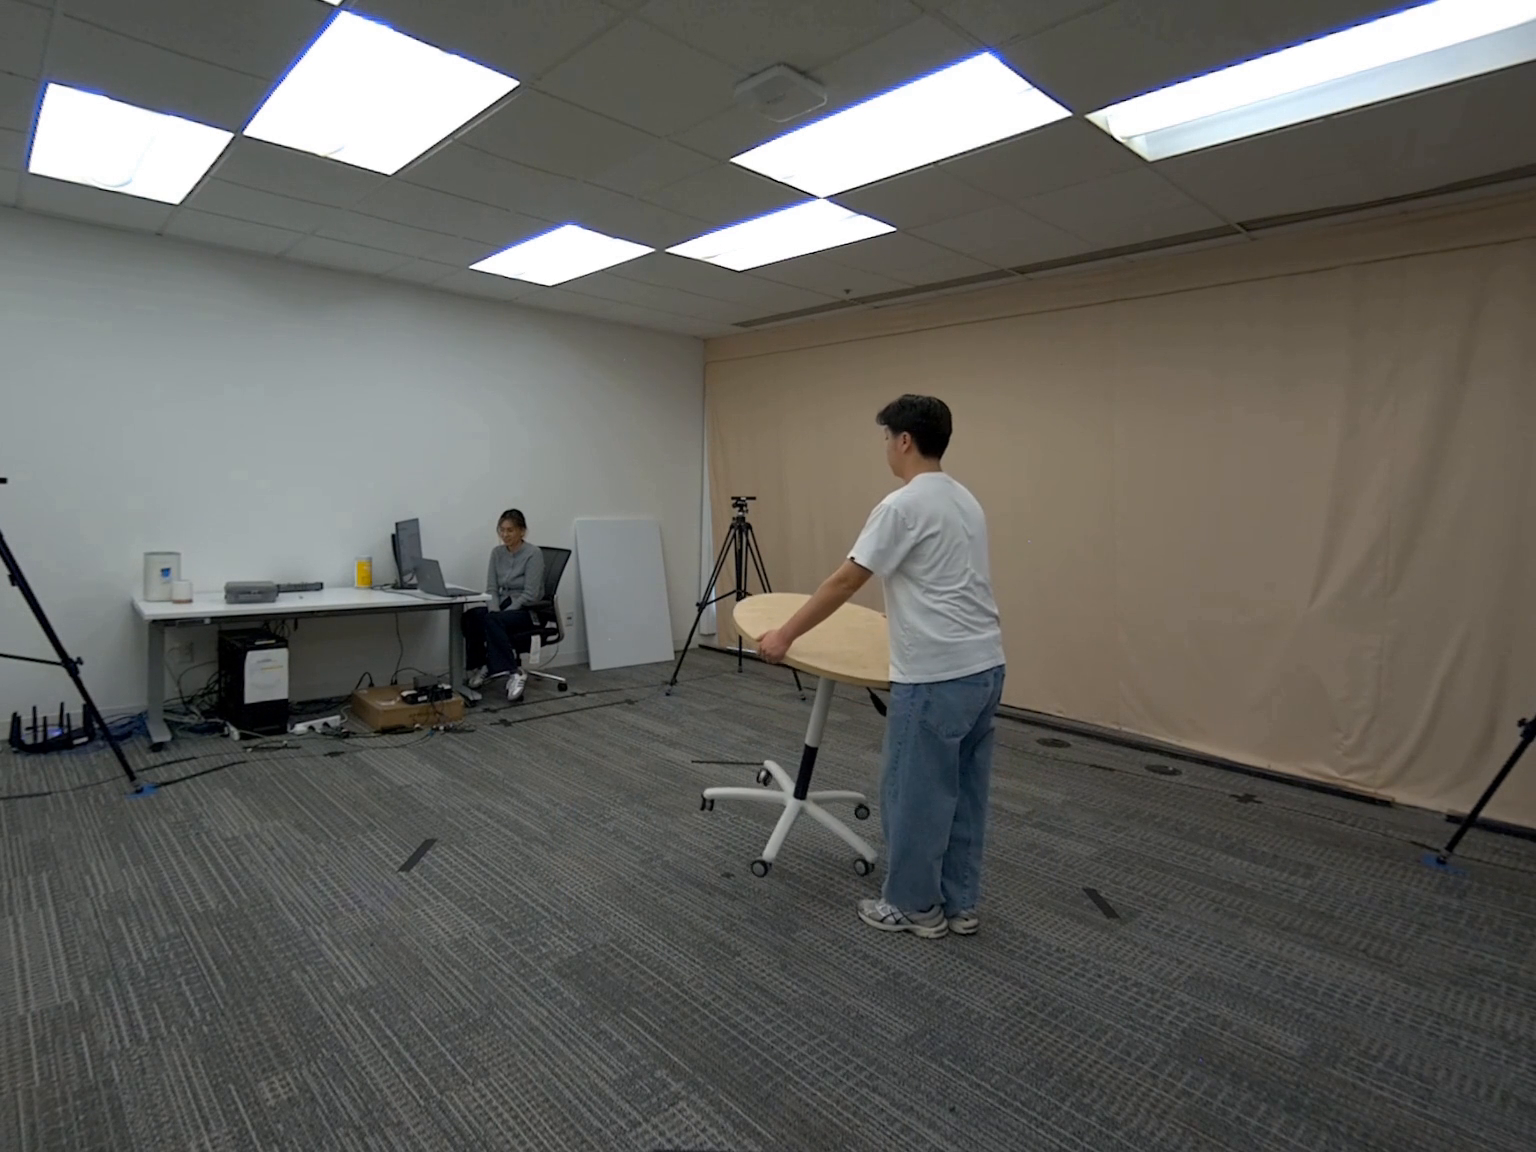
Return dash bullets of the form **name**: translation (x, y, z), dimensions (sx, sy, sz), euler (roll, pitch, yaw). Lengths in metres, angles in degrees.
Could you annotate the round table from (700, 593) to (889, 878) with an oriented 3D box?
- **round table**: translation (0.160, 0.584, 3.065), dimensions (0.761, 0.787, 0.773), euler (11, 15, -4)
